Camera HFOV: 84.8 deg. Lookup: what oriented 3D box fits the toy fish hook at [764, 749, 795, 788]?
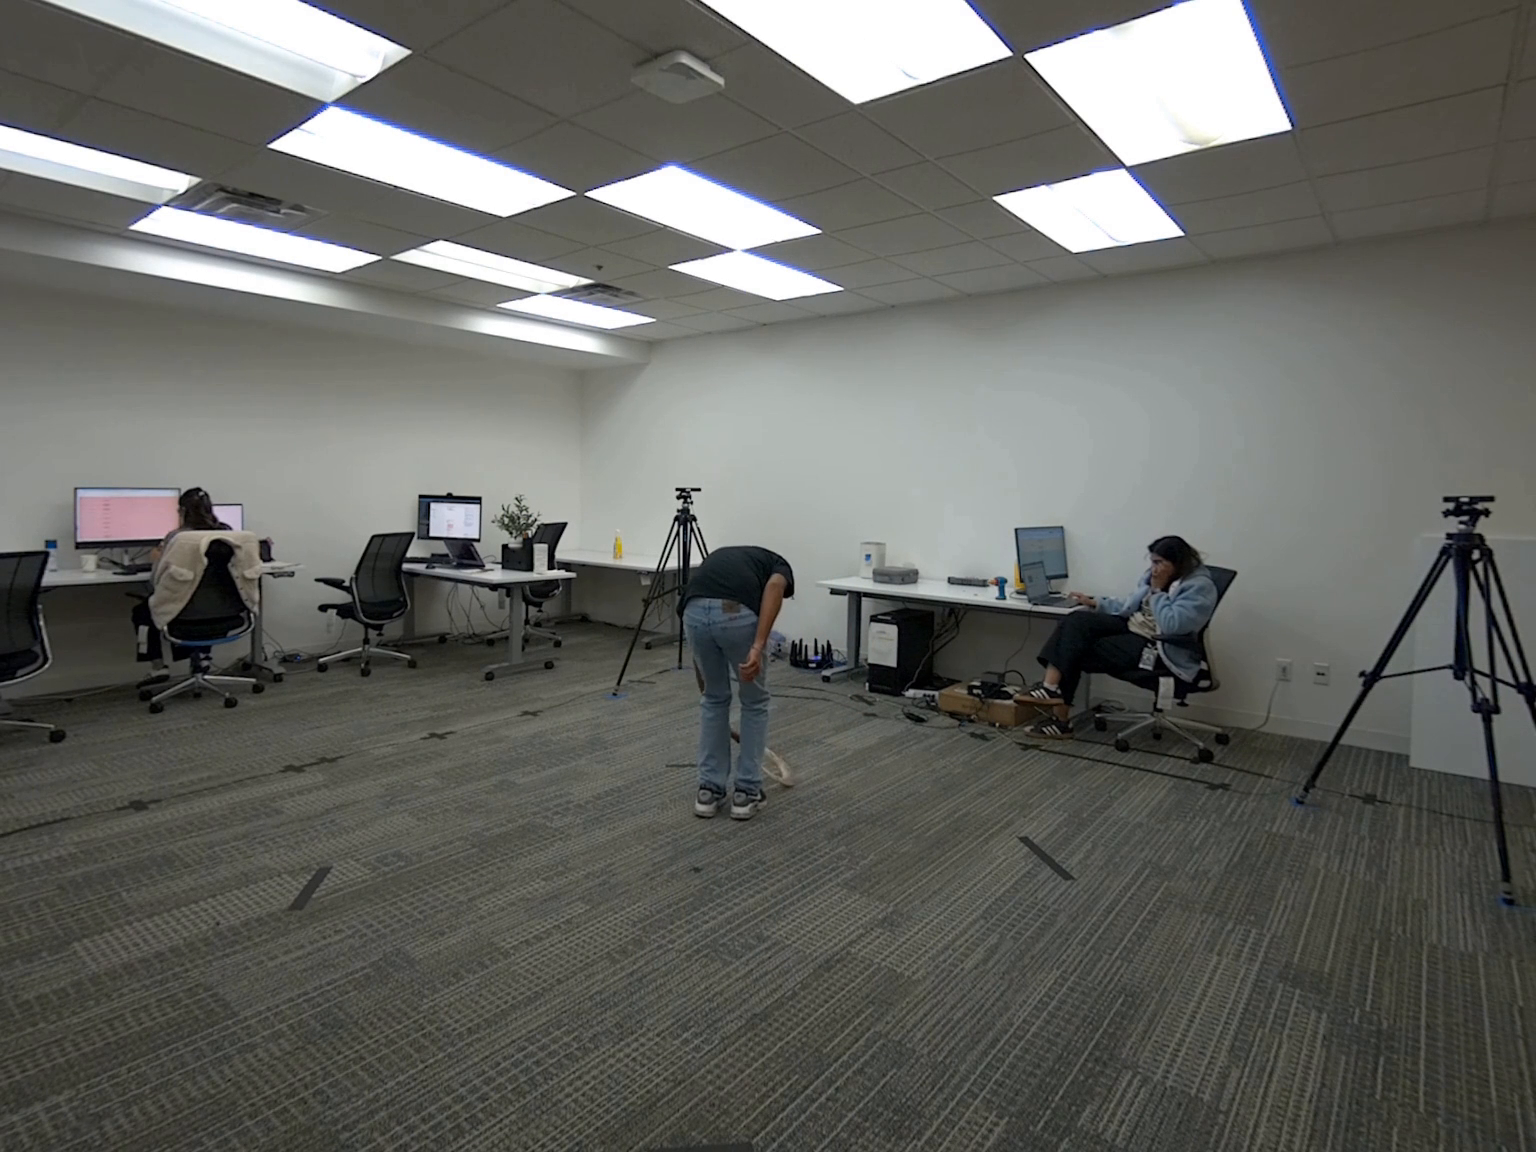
[{"bbox_3d":[-0.088,0.823,4.004,0.498,0.048,0.228,37,9,-12],"label":"toy fish hook"}]
